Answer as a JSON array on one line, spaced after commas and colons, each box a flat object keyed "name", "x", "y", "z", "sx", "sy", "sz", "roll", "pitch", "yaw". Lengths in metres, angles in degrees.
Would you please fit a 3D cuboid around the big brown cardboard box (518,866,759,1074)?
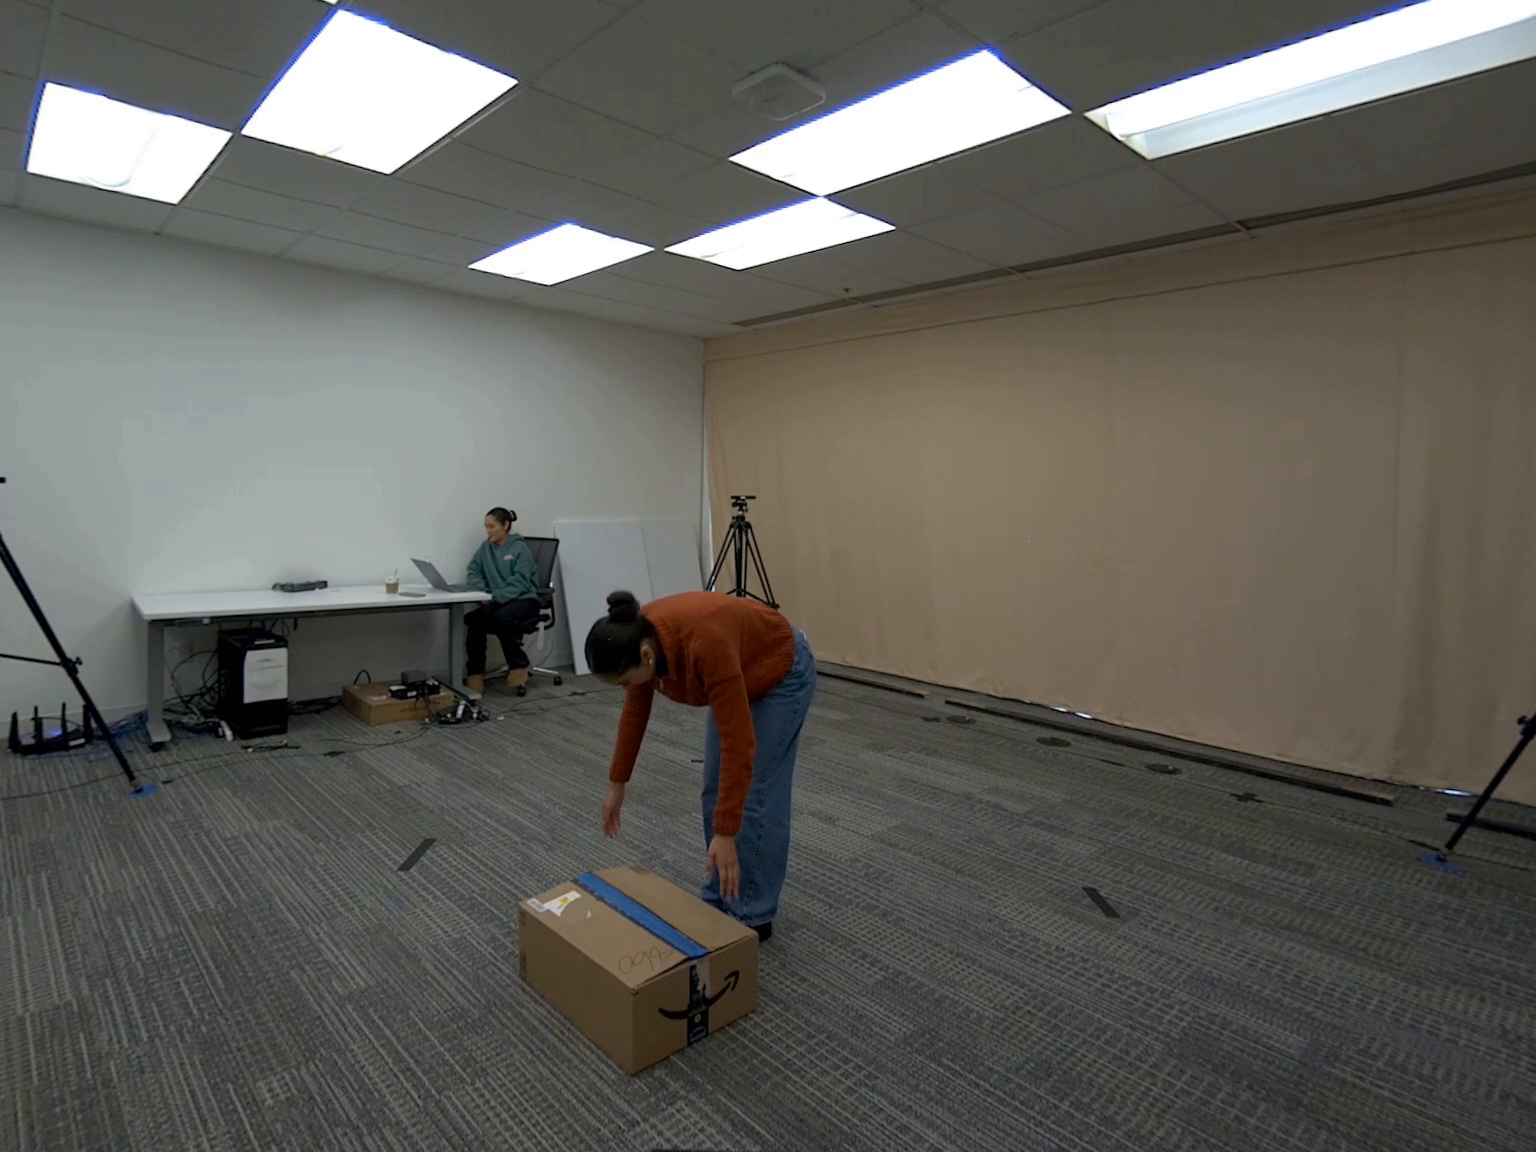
[{"name": "big brown cardboard box", "x": -0.381, "y": 1.057, "z": 2.348, "sx": 0.408, "sy": 0.232, "sz": 0.604, "roll": -3, "pitch": 7, "yaw": -44}]
